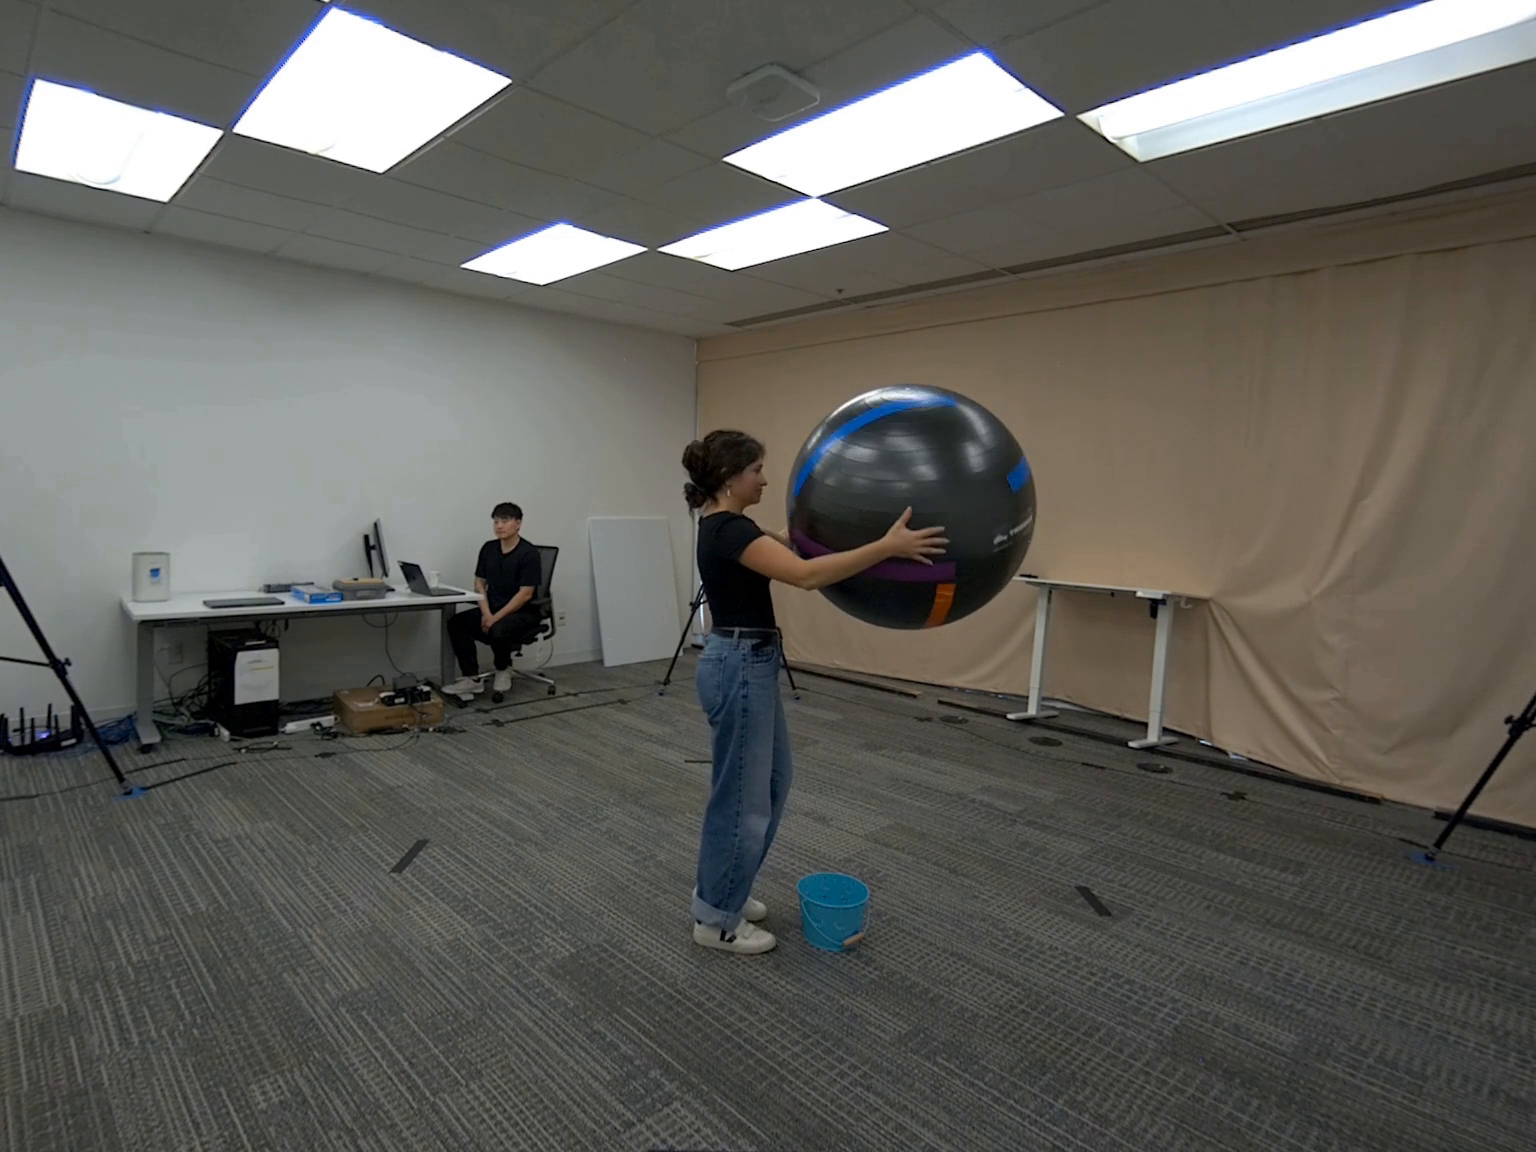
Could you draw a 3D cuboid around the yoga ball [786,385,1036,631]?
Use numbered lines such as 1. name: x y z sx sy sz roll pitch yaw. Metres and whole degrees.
1. yoga ball: 0.441 -0.207 2.610 0.757 0.756 0.761 1 4 -1
